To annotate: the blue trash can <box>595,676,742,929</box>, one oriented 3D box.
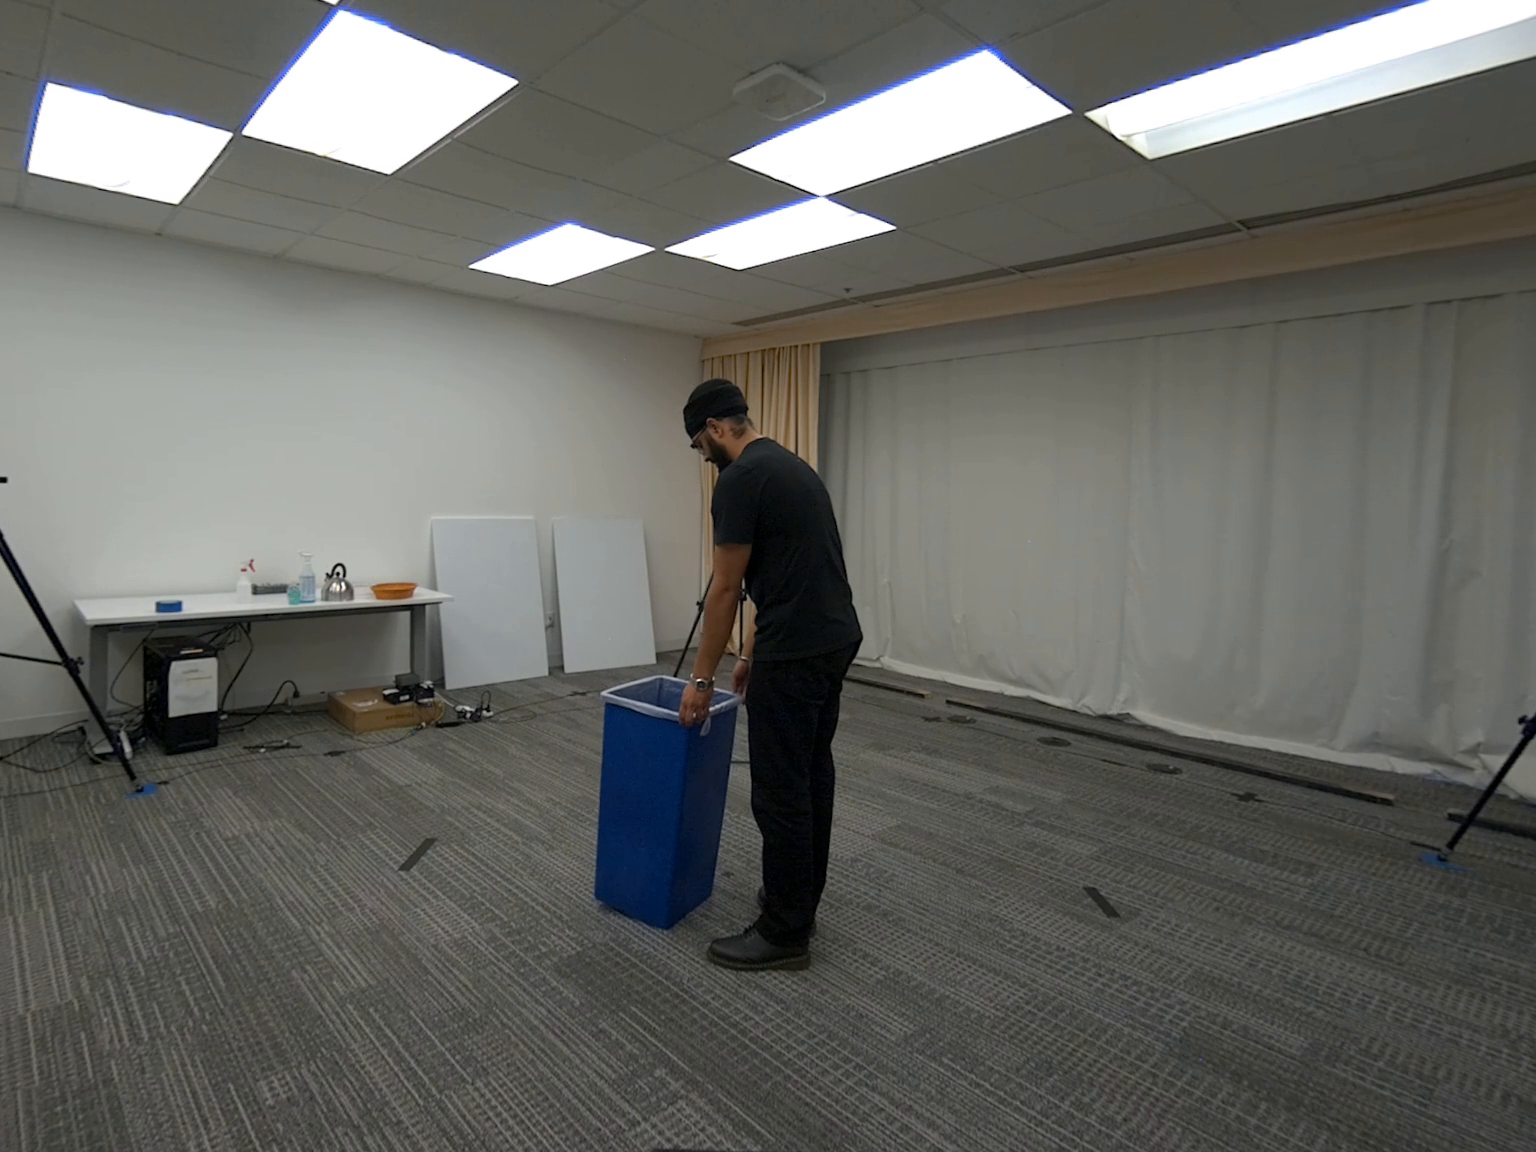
[{"bbox_3d":[-0.353,0.751,2.862,0.382,0.711,0.371,8,6,26],"label":"blue trash can"}]
